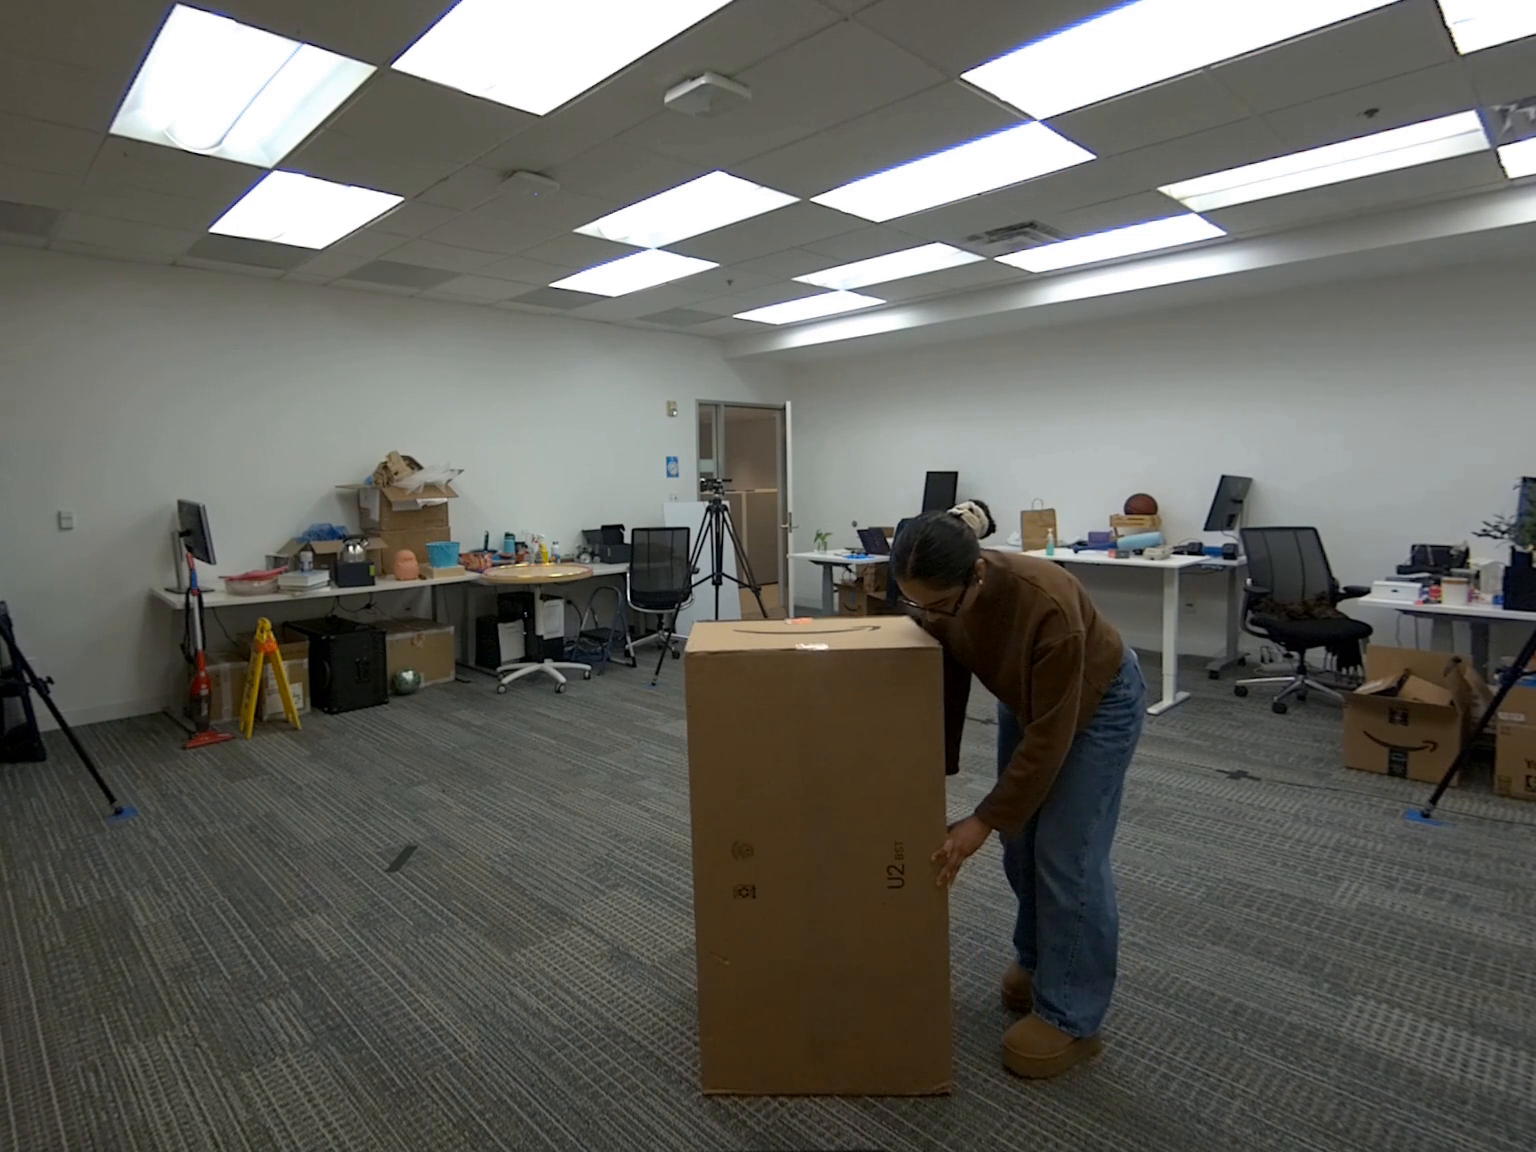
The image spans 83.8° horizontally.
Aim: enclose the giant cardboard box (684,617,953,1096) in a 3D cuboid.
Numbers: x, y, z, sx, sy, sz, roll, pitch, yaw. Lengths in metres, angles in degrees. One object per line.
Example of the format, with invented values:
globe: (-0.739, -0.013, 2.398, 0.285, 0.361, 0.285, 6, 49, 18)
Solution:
giant cardboard box: (0.122, 0.647, 2.119, 0.578, 1.022, 0.427, -2, 4, 0)
